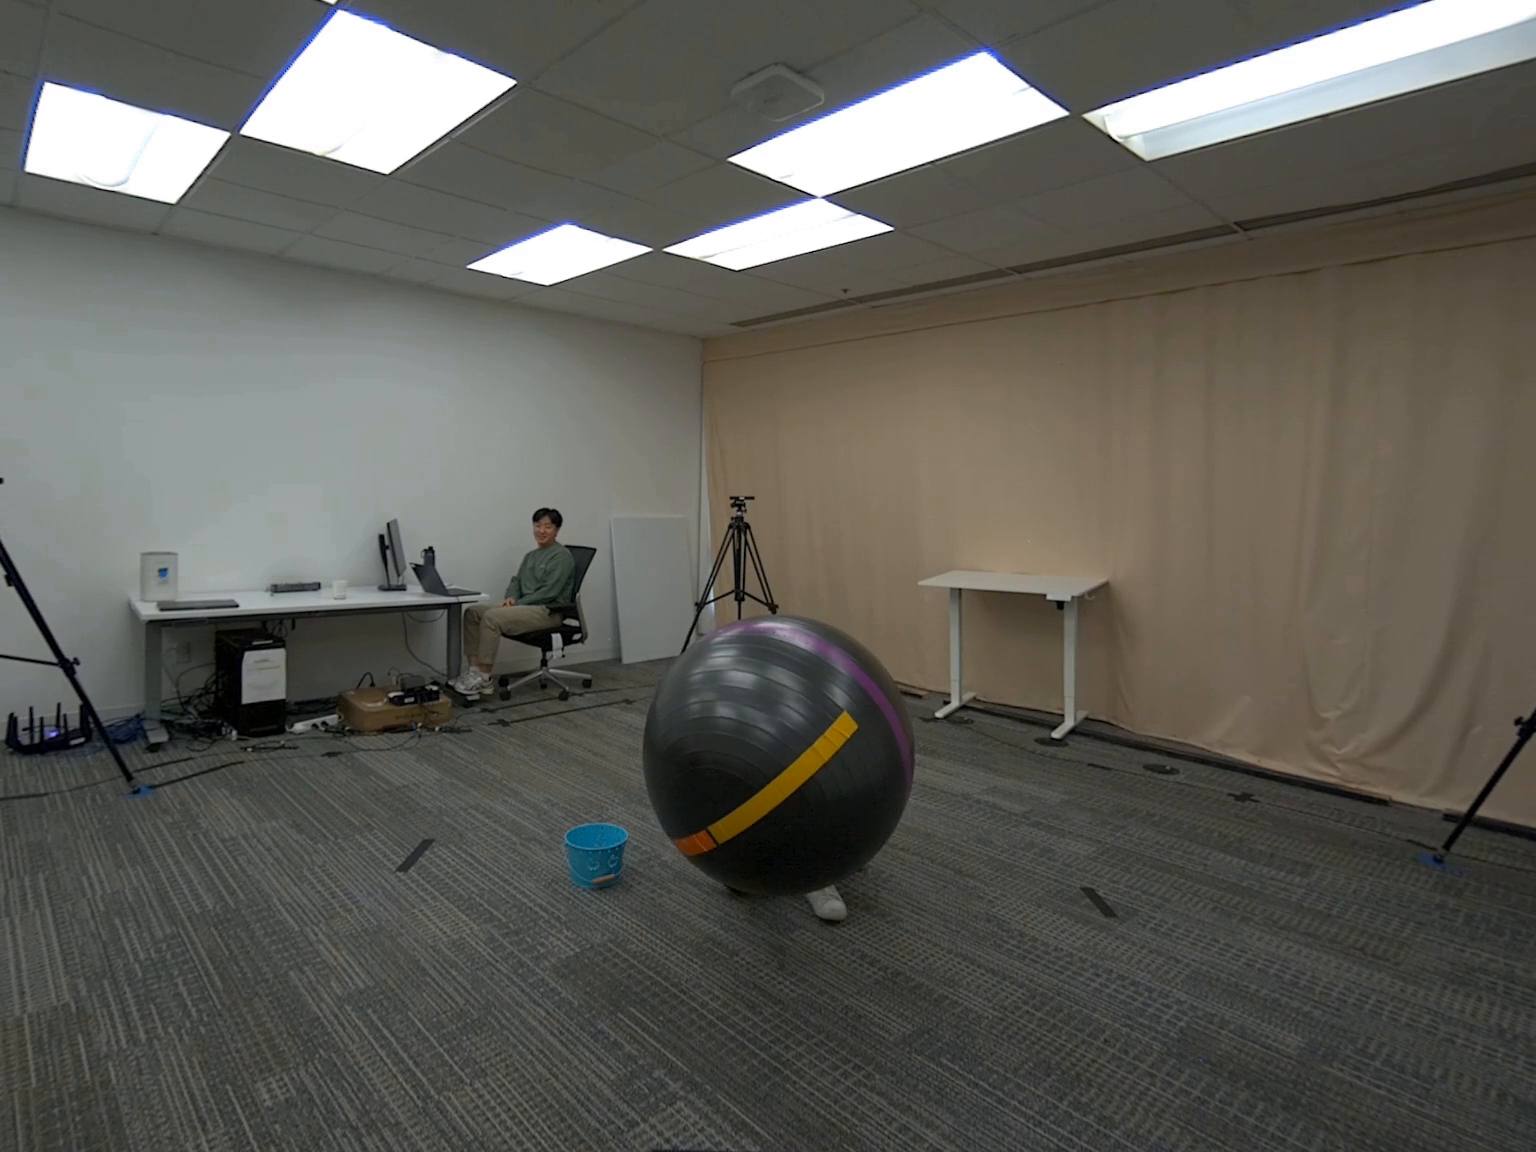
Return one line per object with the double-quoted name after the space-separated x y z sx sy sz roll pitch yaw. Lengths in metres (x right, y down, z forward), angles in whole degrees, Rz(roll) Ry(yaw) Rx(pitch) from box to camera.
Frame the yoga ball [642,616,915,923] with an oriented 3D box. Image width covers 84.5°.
0.031 0.487 2.363 0.757 0.756 0.761 1 4 -1 "yoga ball"
